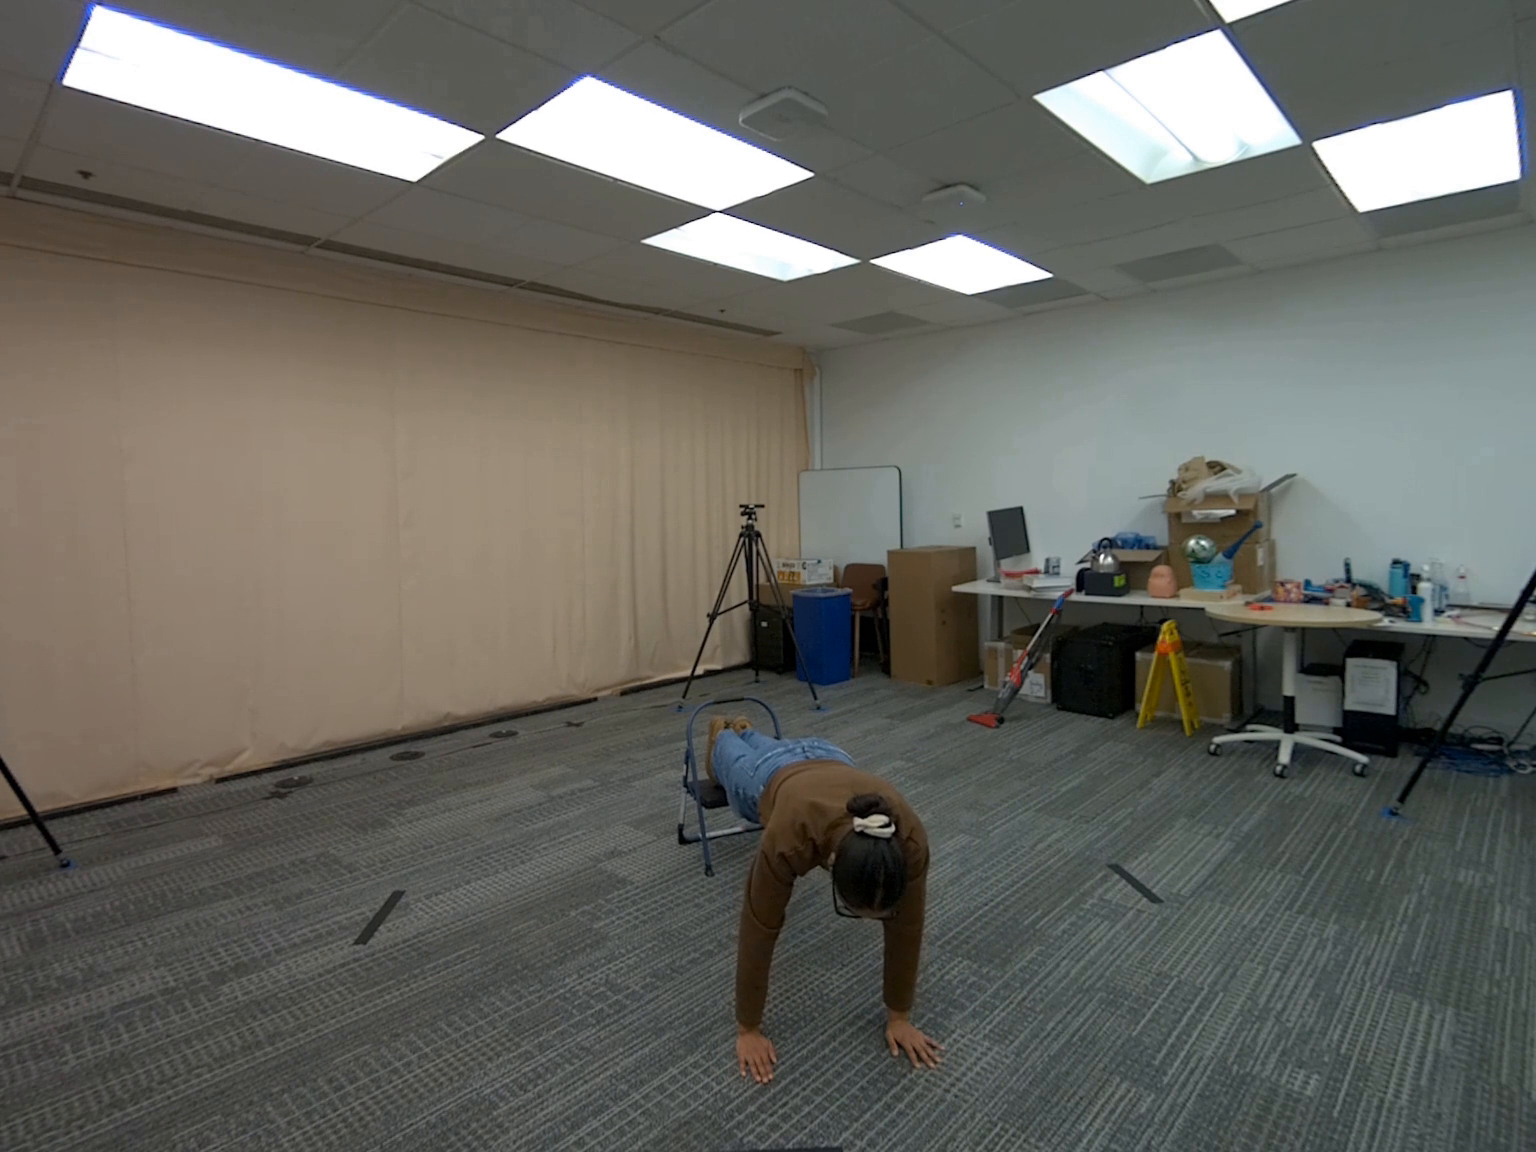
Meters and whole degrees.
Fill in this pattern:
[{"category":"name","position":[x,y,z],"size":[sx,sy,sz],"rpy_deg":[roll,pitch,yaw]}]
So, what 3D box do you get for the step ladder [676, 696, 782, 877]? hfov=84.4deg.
[{"category":"step ladder","position":[-0.118,0.806,3.388],"size":[0.420,0.605,0.358],"rpy_deg":[-3,4,-25]}]
